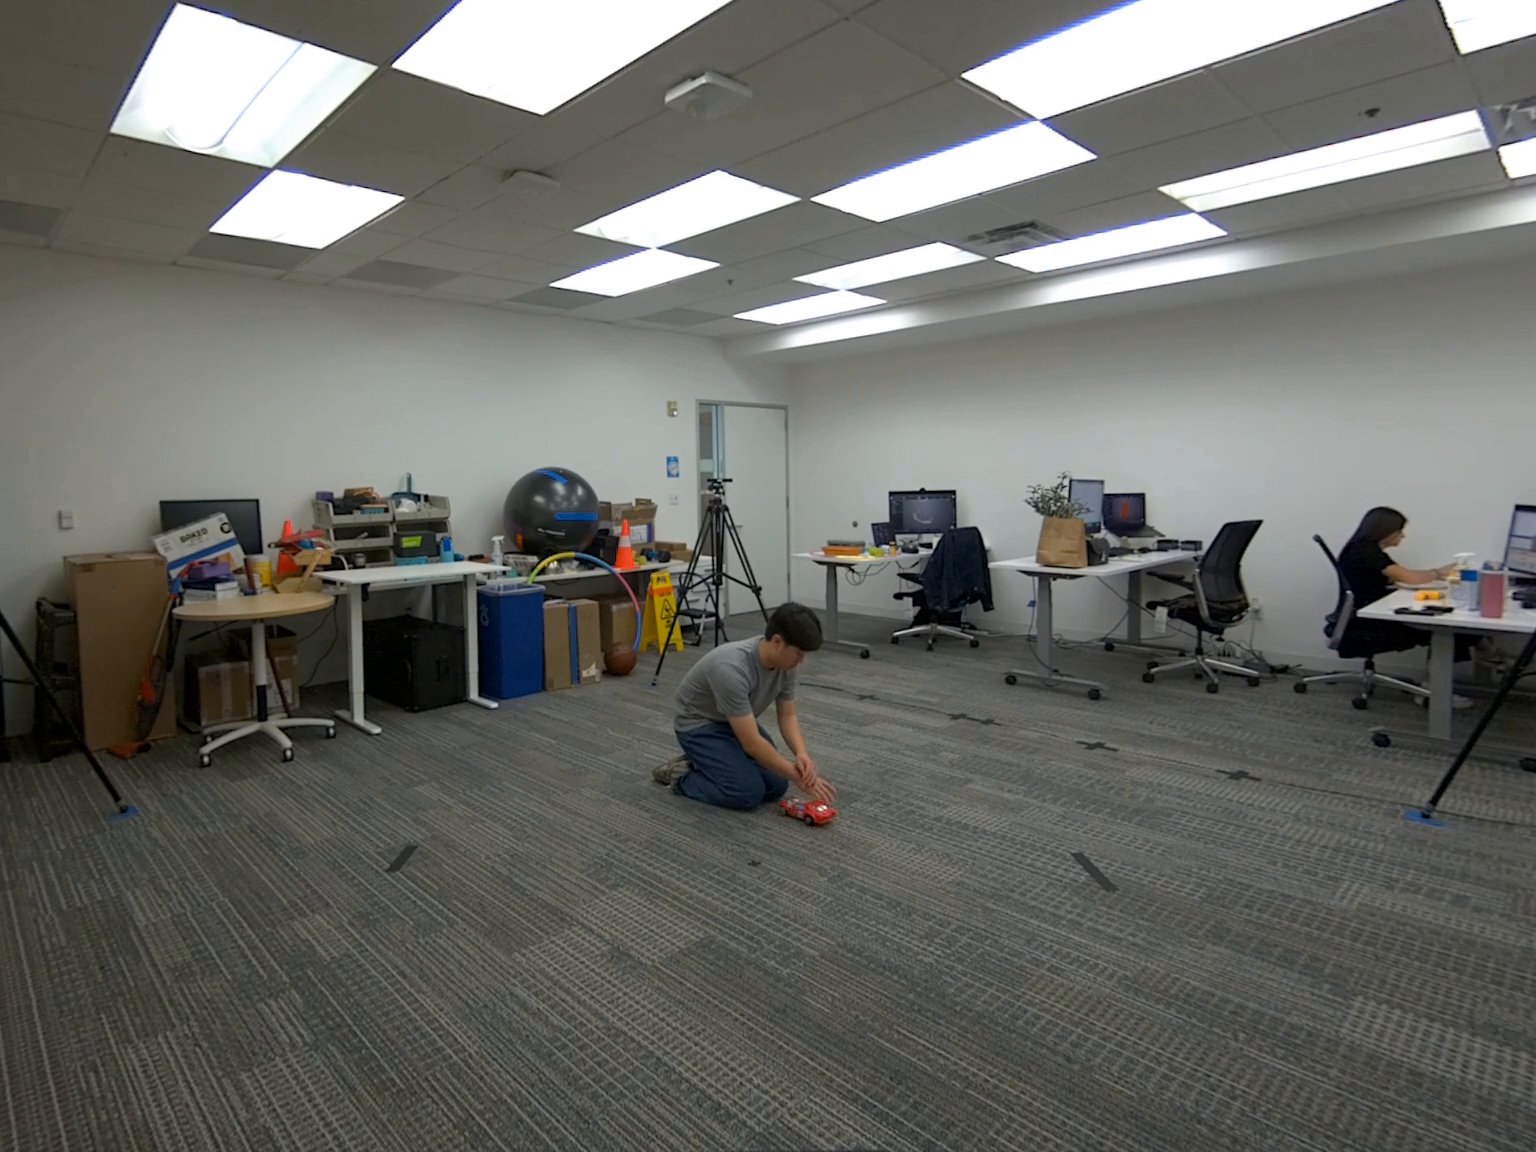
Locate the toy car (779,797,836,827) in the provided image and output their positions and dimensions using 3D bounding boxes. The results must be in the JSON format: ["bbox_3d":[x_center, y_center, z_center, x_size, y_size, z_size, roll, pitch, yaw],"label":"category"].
[{"bbox_3d":[0.174,0.966,3.496,0.127,0.083,0.260,-5,-4,-43],"label":"toy car"}]
